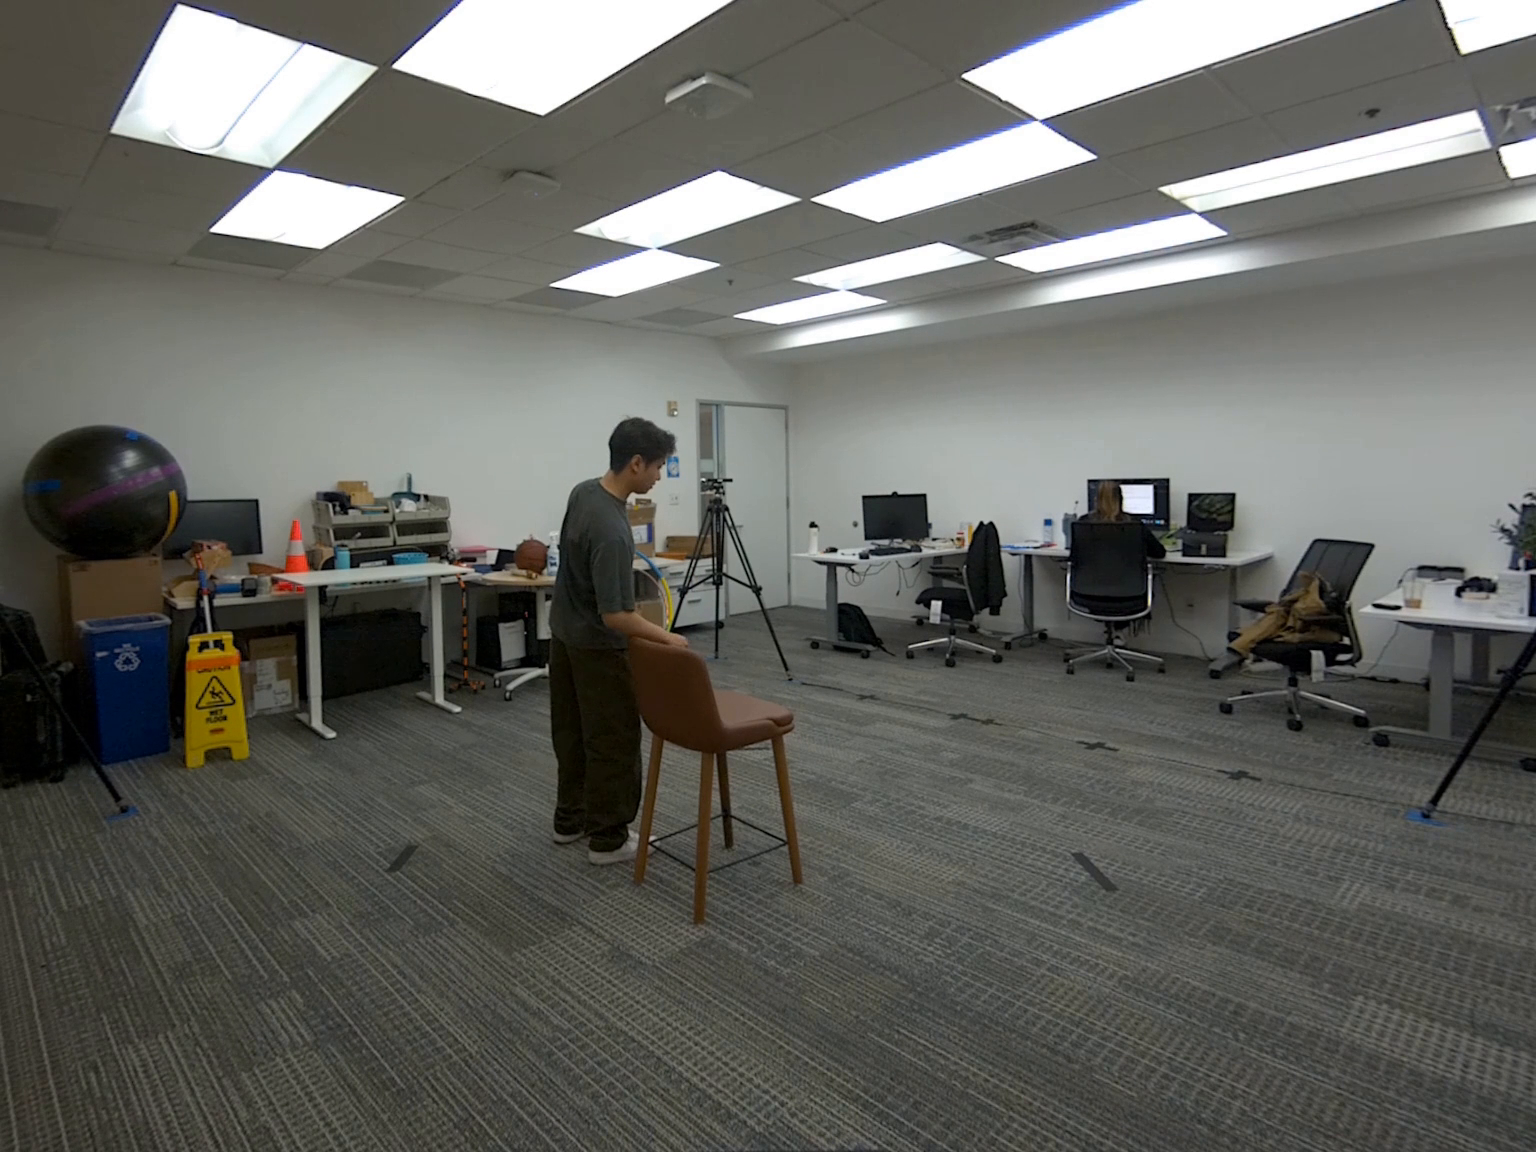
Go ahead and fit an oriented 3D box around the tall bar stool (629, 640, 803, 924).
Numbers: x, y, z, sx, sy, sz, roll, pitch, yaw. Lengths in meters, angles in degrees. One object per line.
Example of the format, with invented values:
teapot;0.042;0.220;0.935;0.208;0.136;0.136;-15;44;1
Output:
tall bar stool;-0.186;0.633;2.932;0.456;0.885;0.470;-7;7;-40
